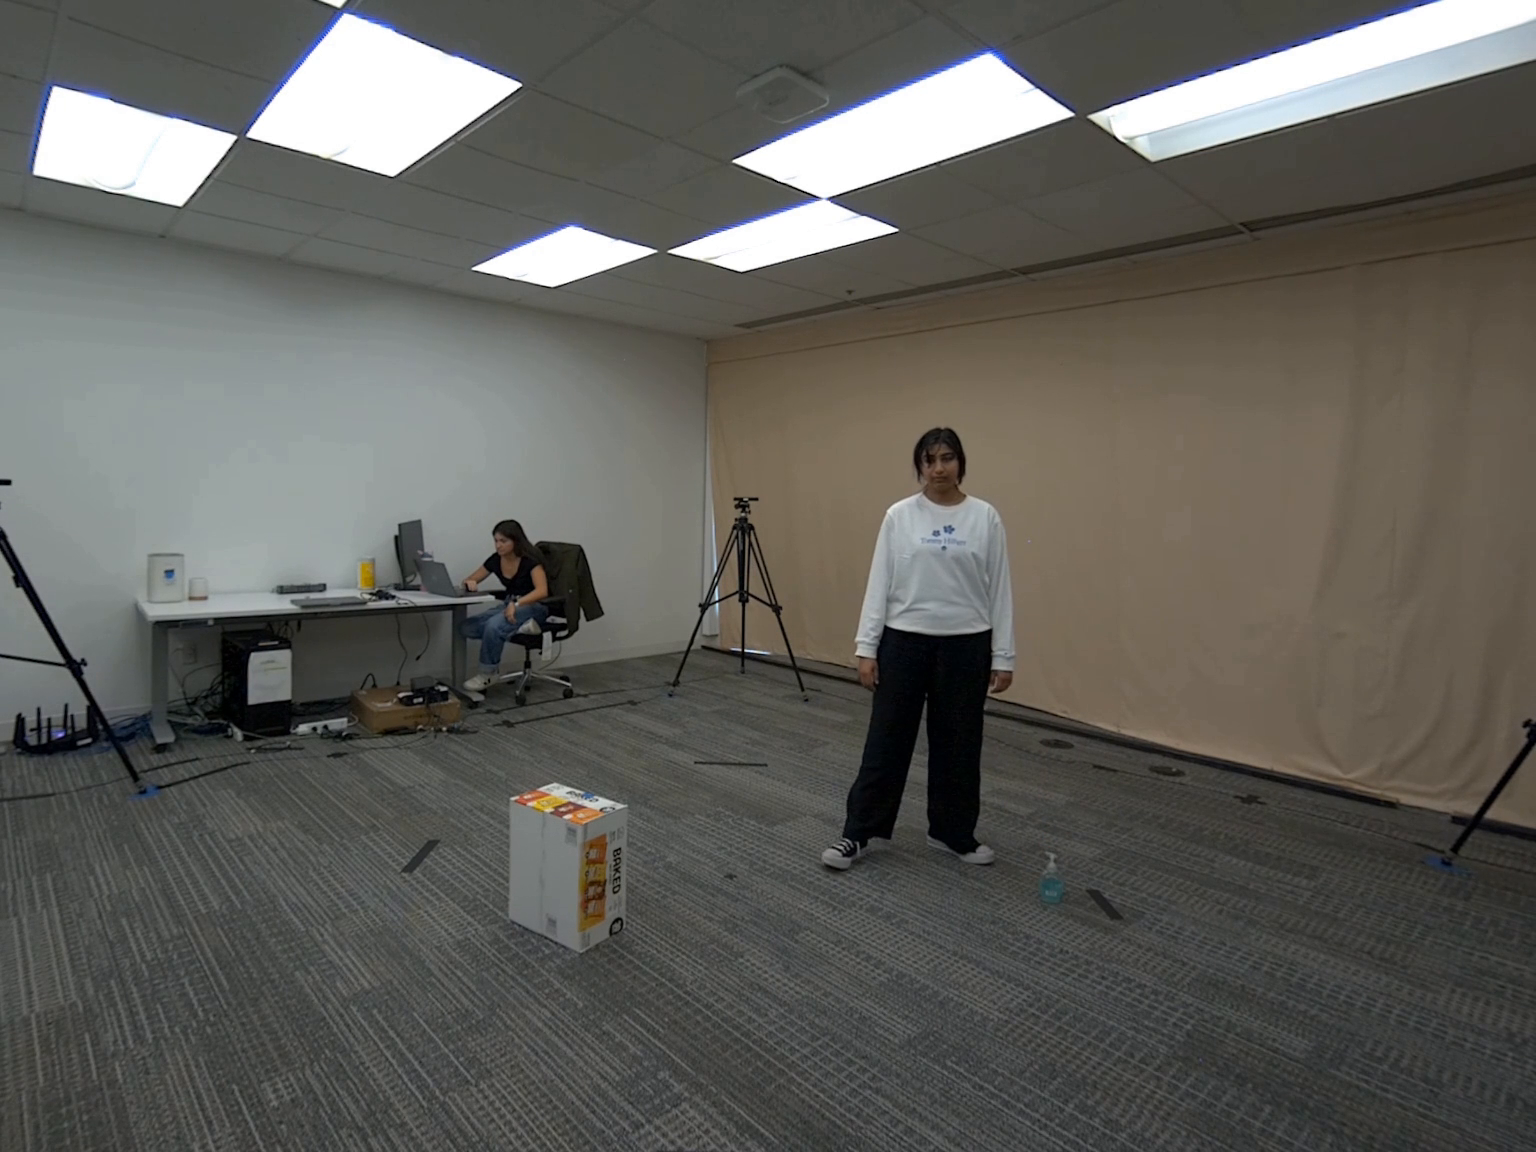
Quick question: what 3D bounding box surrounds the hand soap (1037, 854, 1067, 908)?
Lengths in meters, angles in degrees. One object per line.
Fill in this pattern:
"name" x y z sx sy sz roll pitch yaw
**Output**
"hand soap" 0.996 1.069 2.973 0.085 0.168 0.043 0 4 6
